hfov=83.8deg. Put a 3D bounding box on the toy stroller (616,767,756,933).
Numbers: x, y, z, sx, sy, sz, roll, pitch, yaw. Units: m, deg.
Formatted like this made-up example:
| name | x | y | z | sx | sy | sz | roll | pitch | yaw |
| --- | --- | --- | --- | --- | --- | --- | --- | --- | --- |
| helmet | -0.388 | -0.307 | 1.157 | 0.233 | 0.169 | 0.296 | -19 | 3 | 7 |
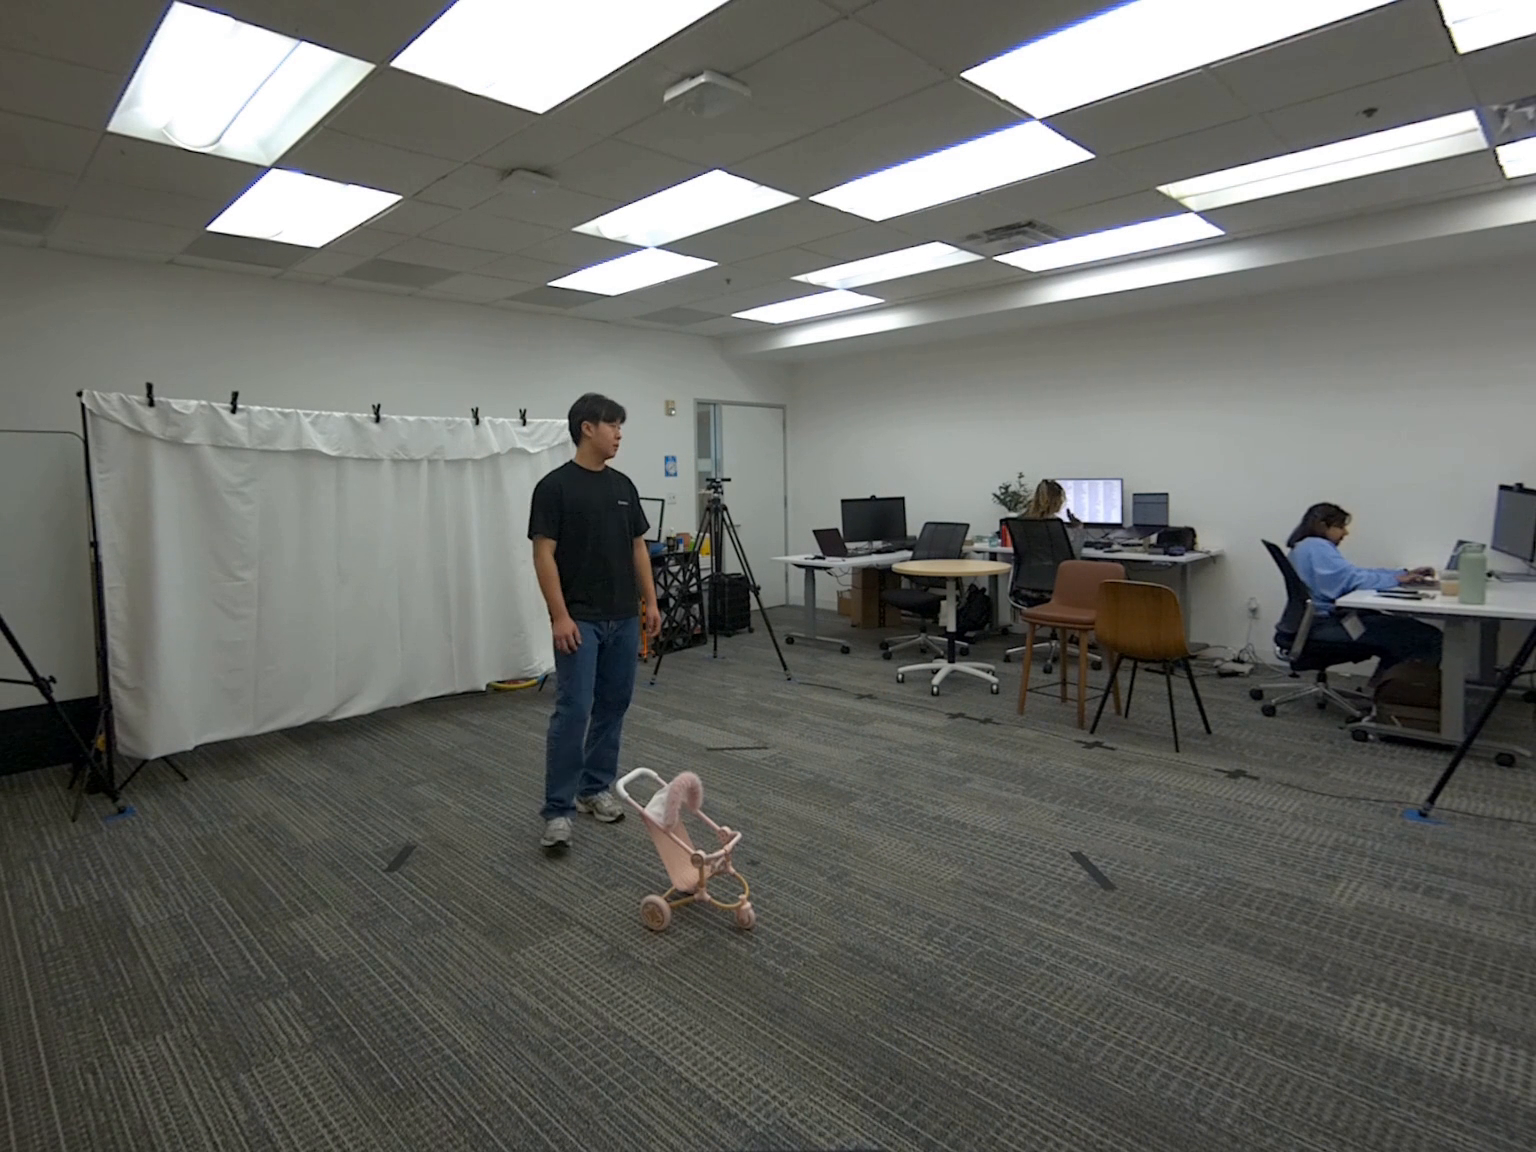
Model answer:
| name | x | y | z | sx | sy | sz | roll | pitch | yaw |
| --- | --- | --- | --- | --- | --- | --- | --- | --- | --- |
| toy stroller | -0.243 | 0.866 | 2.724 | 0.347 | 0.537 | 0.275 | -17 | -4 | 29 |
